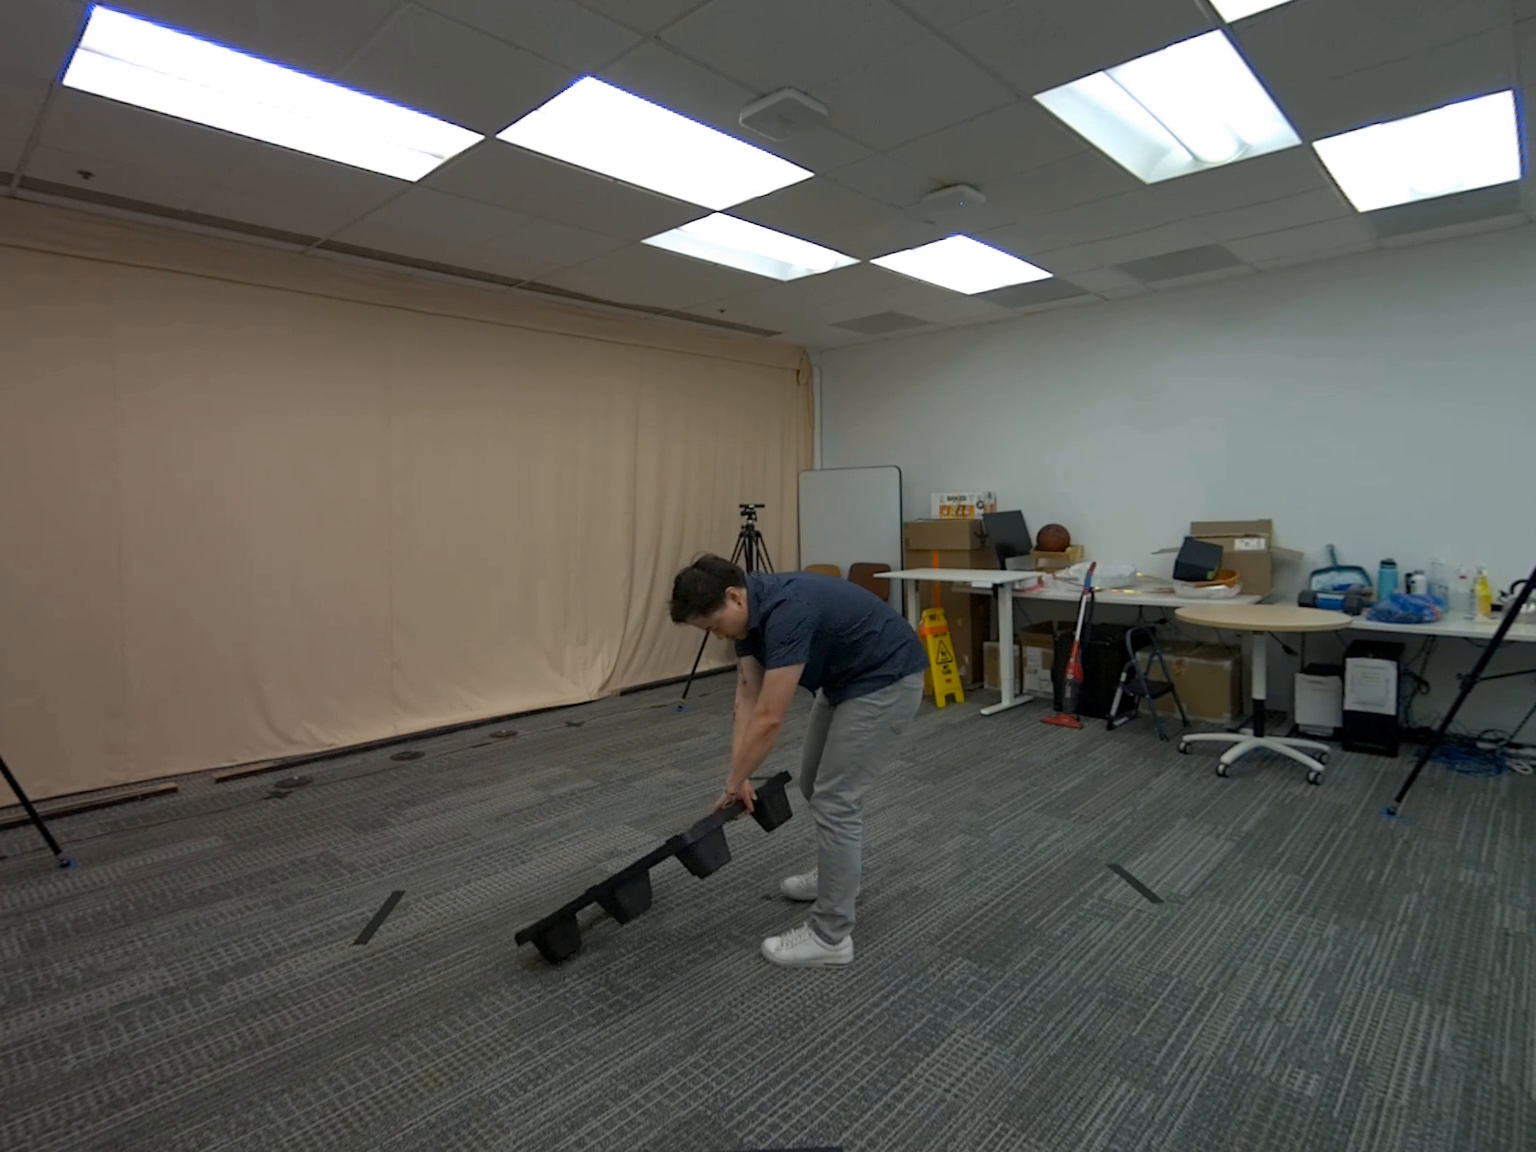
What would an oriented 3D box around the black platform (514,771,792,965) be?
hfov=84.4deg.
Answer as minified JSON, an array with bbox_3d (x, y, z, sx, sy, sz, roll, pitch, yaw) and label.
[{"bbox_3d":[-0.319,0.913,2.610,0.814,0.145,0.590,-39,-13,27],"label":"black platform"}]
